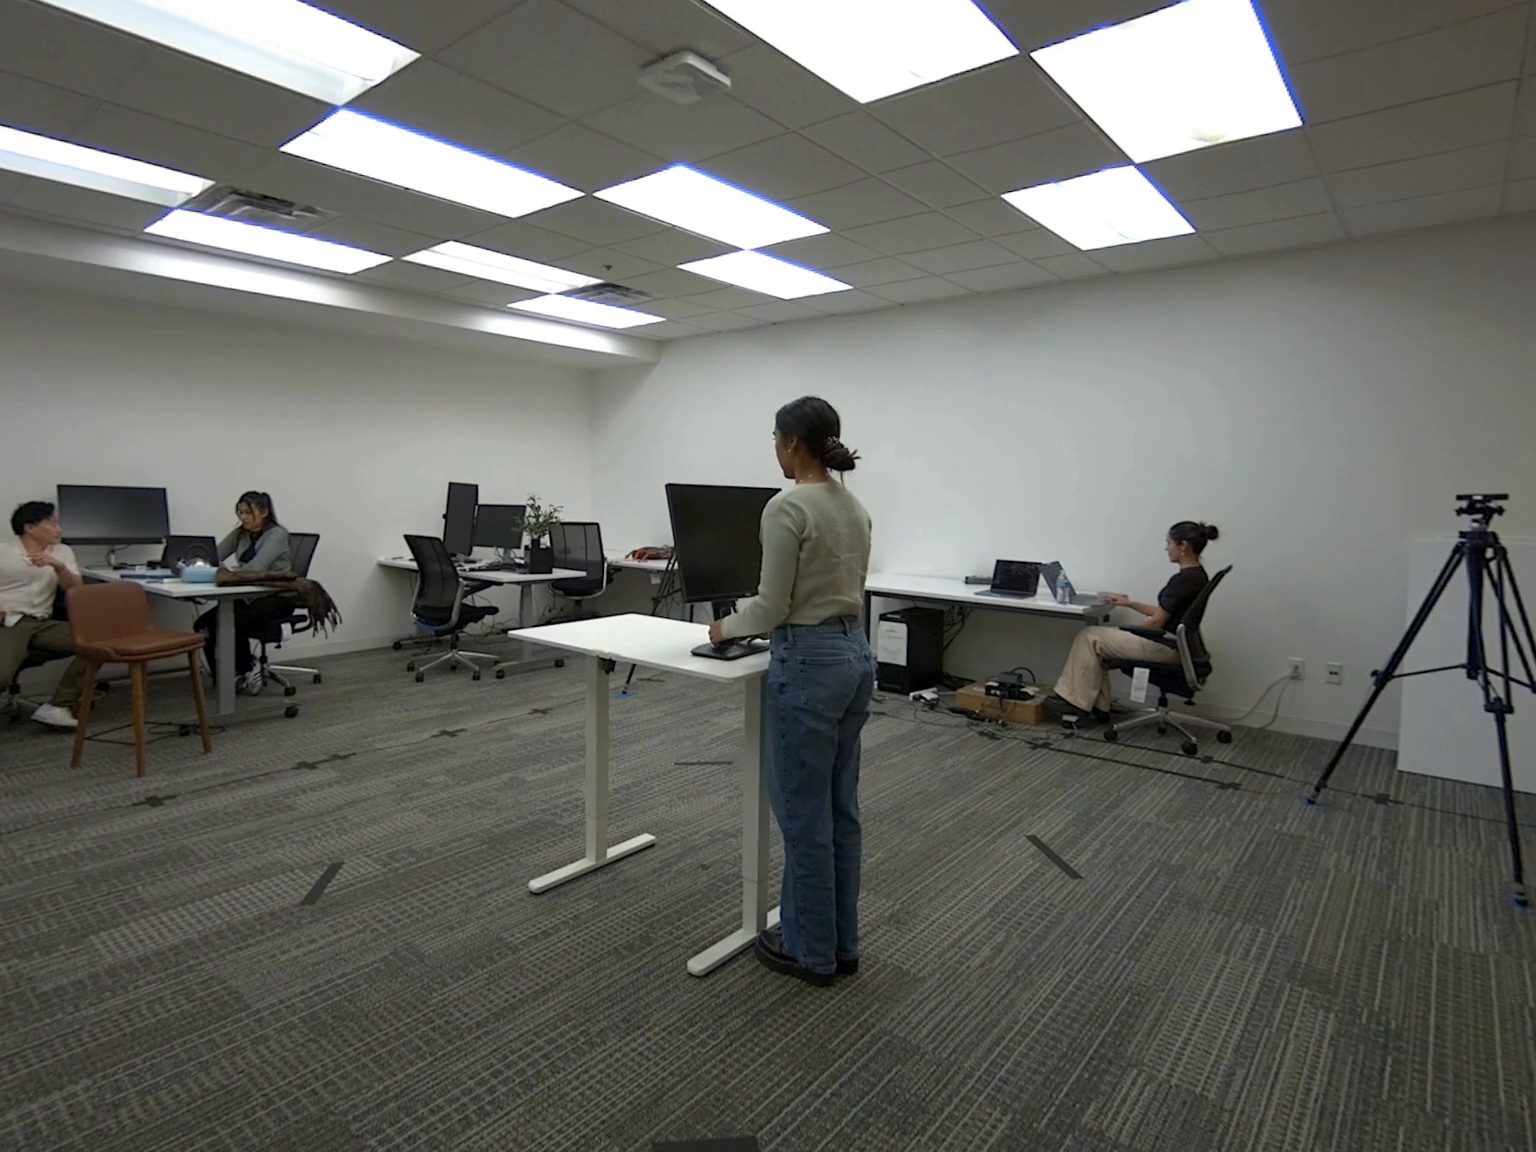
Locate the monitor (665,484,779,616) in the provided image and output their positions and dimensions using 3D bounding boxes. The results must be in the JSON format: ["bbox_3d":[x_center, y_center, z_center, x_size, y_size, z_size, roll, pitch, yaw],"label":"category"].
[{"bbox_3d":[-0.122,-0.019,2.650,0.193,0.522,0.523,0,2,39],"label":"monitor"}]
